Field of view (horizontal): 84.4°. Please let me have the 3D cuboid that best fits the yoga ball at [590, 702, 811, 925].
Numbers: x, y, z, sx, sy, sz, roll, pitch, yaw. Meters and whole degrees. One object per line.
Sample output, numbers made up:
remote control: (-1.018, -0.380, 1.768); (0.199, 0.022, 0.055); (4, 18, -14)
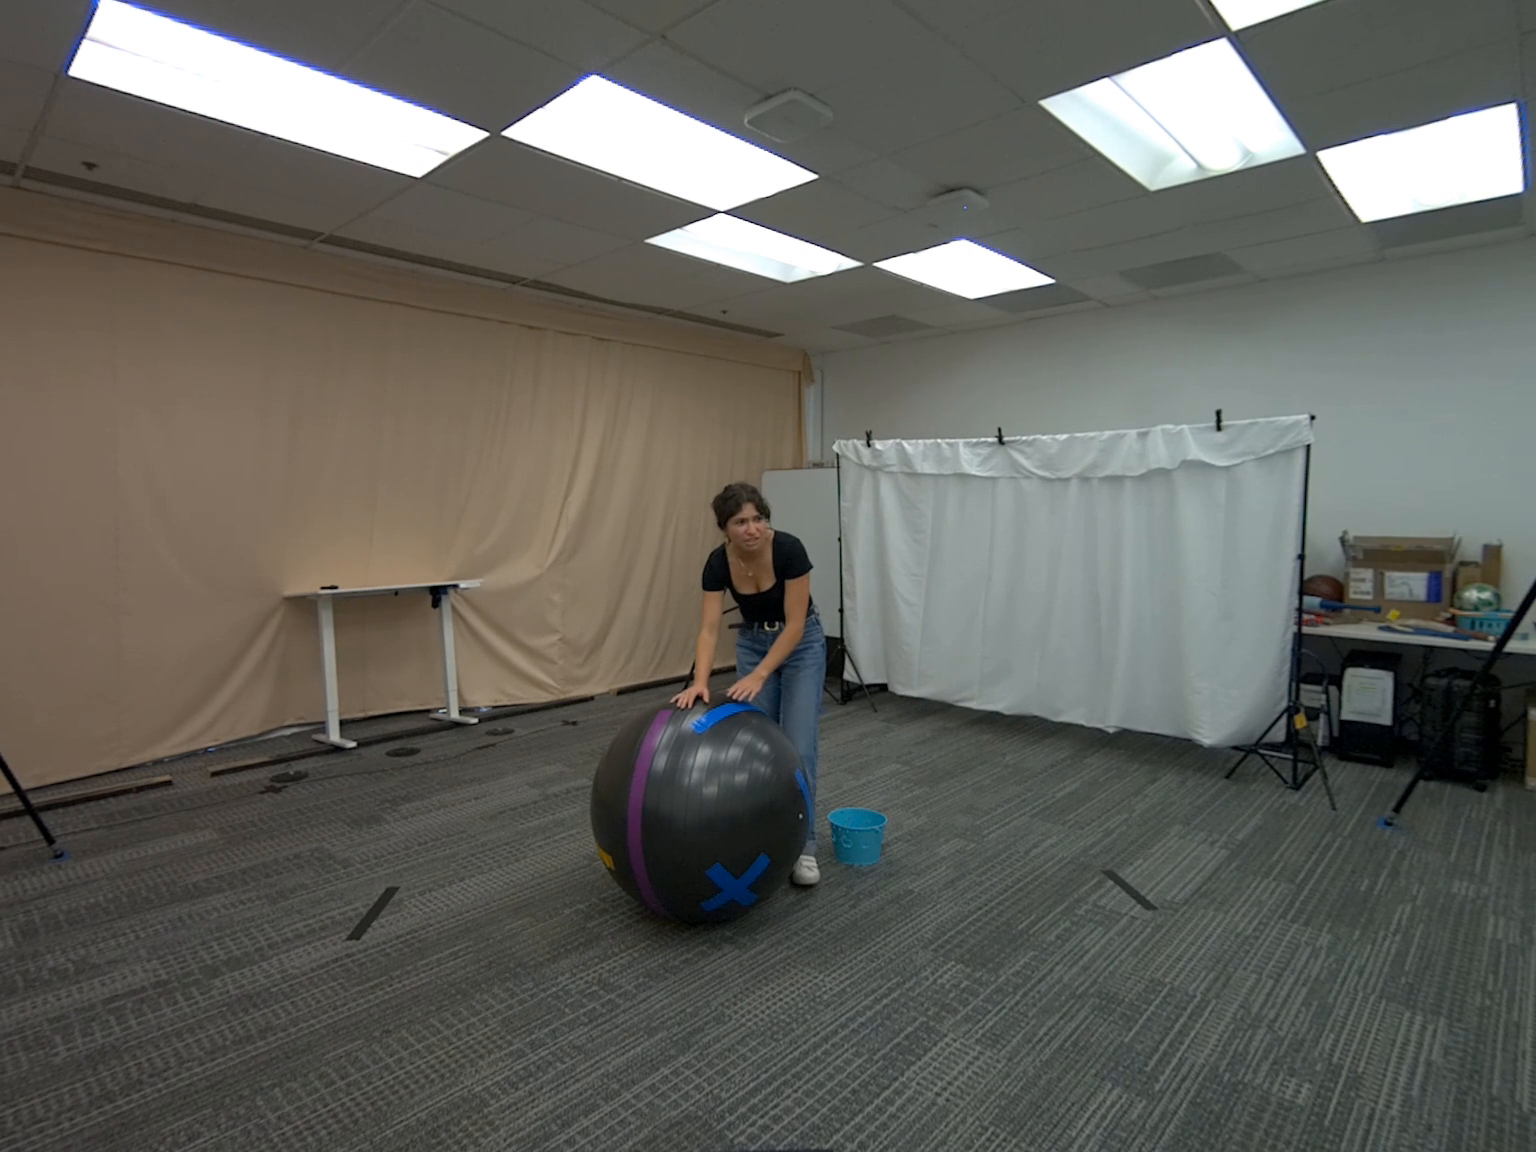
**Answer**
yoga ball: (-0.232, 0.787, 2.898); (0.757, 0.756, 0.760); (0, 4, -2)
